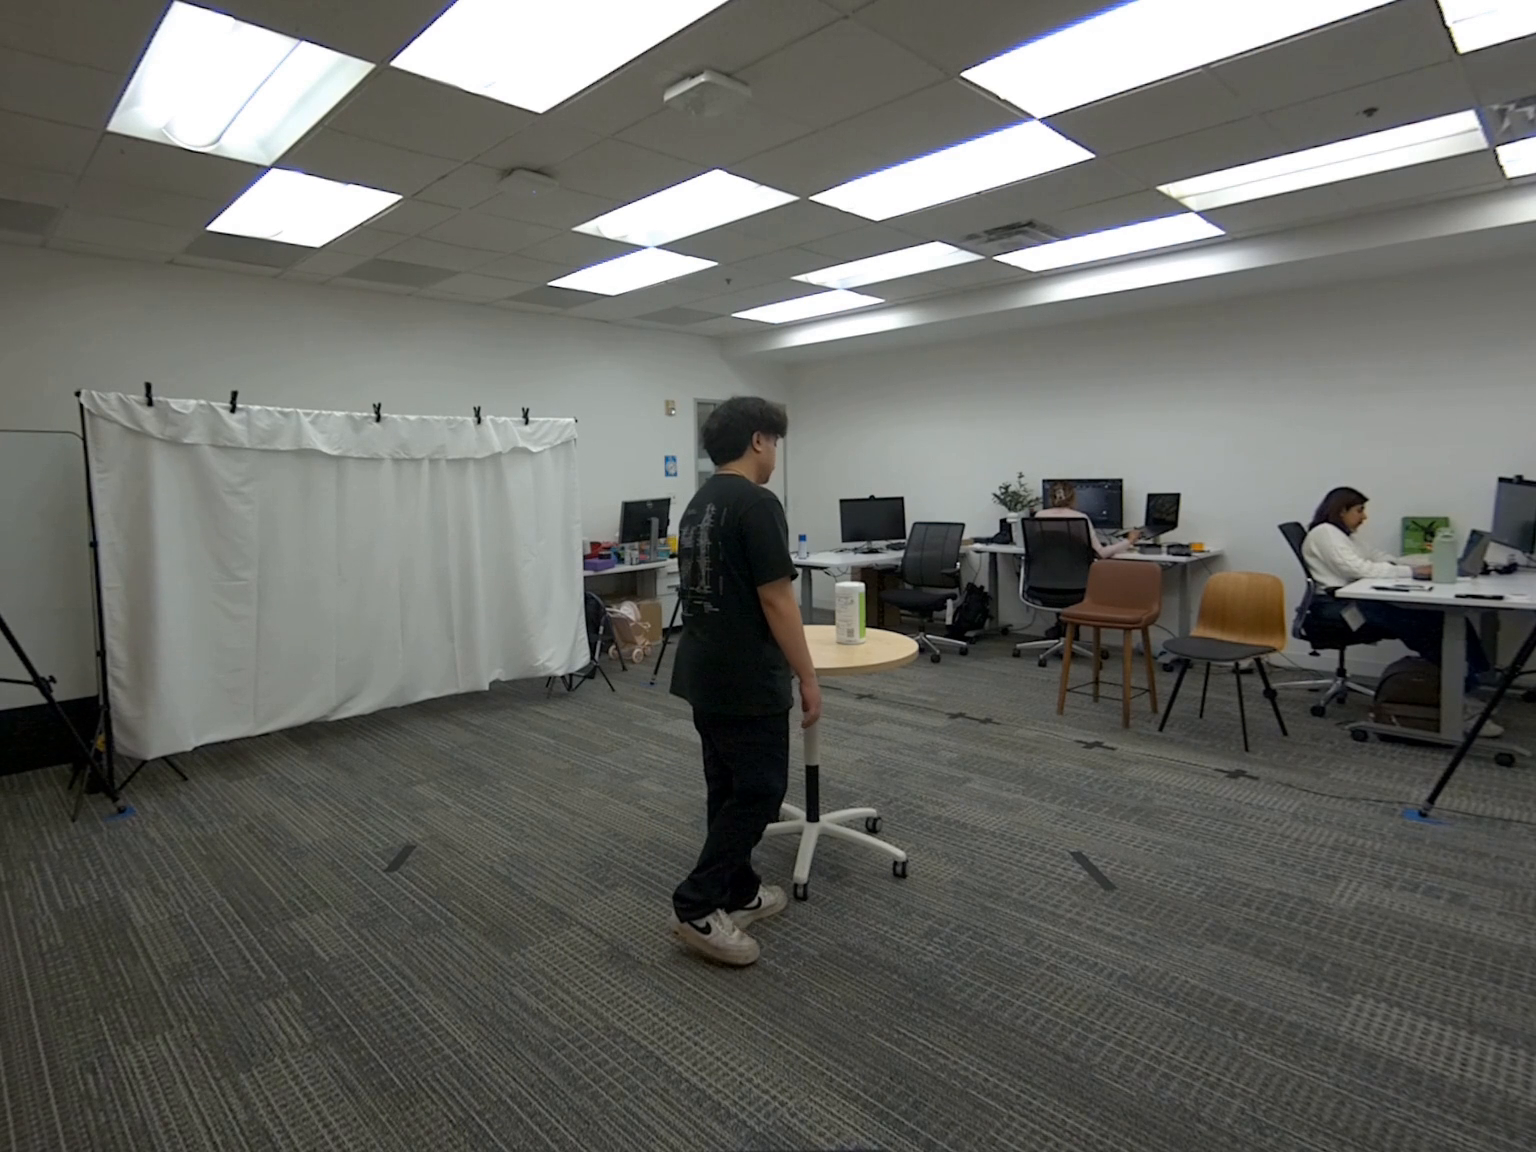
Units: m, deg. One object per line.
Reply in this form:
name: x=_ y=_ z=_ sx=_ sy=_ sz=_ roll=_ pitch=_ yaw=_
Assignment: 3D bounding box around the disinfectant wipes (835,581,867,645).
disinfectant wipes: x=0.298 y=0.133 z=3.103 sx=0.118 sy=0.217 sz=0.118 roll=-2 pitch=4 yaw=-2
